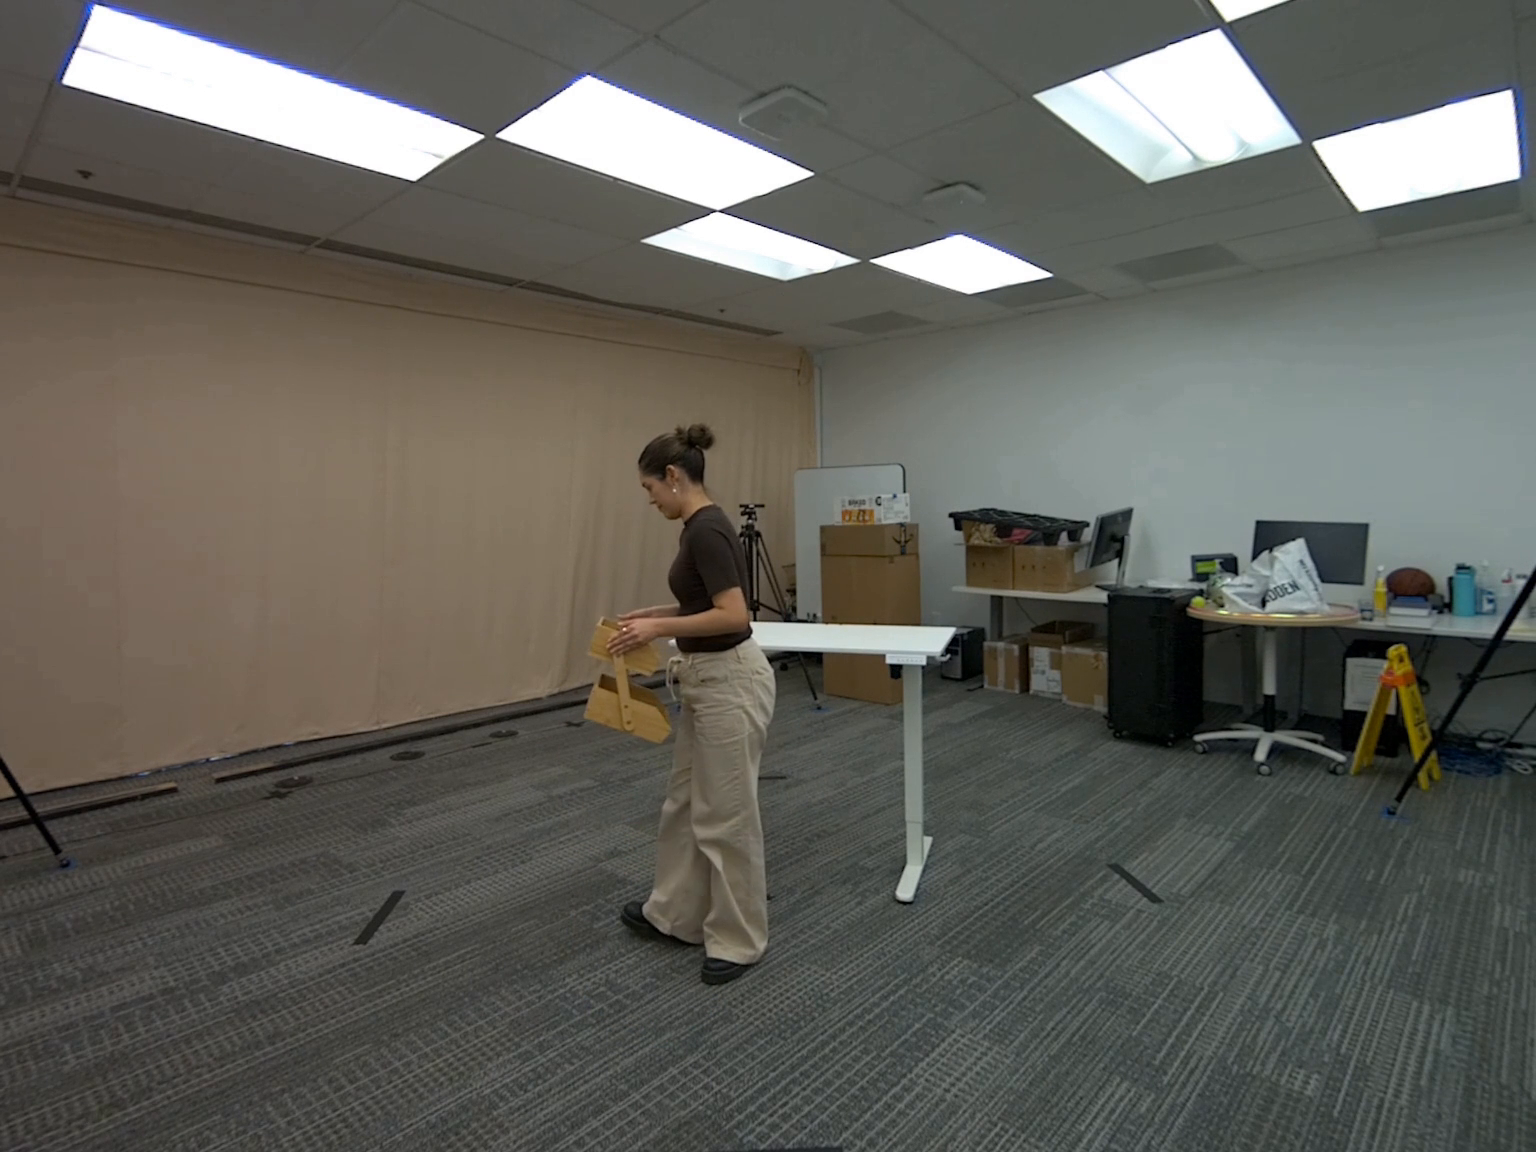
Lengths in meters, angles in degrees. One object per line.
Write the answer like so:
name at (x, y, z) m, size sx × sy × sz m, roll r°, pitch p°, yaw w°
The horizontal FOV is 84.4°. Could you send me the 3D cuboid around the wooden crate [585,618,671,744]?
wooden crate at (-0.401, 0.305, 2.530) m, size 0.300 × 0.273 × 0.326 m, roll 19°, pitch -3°, yaw -6°
